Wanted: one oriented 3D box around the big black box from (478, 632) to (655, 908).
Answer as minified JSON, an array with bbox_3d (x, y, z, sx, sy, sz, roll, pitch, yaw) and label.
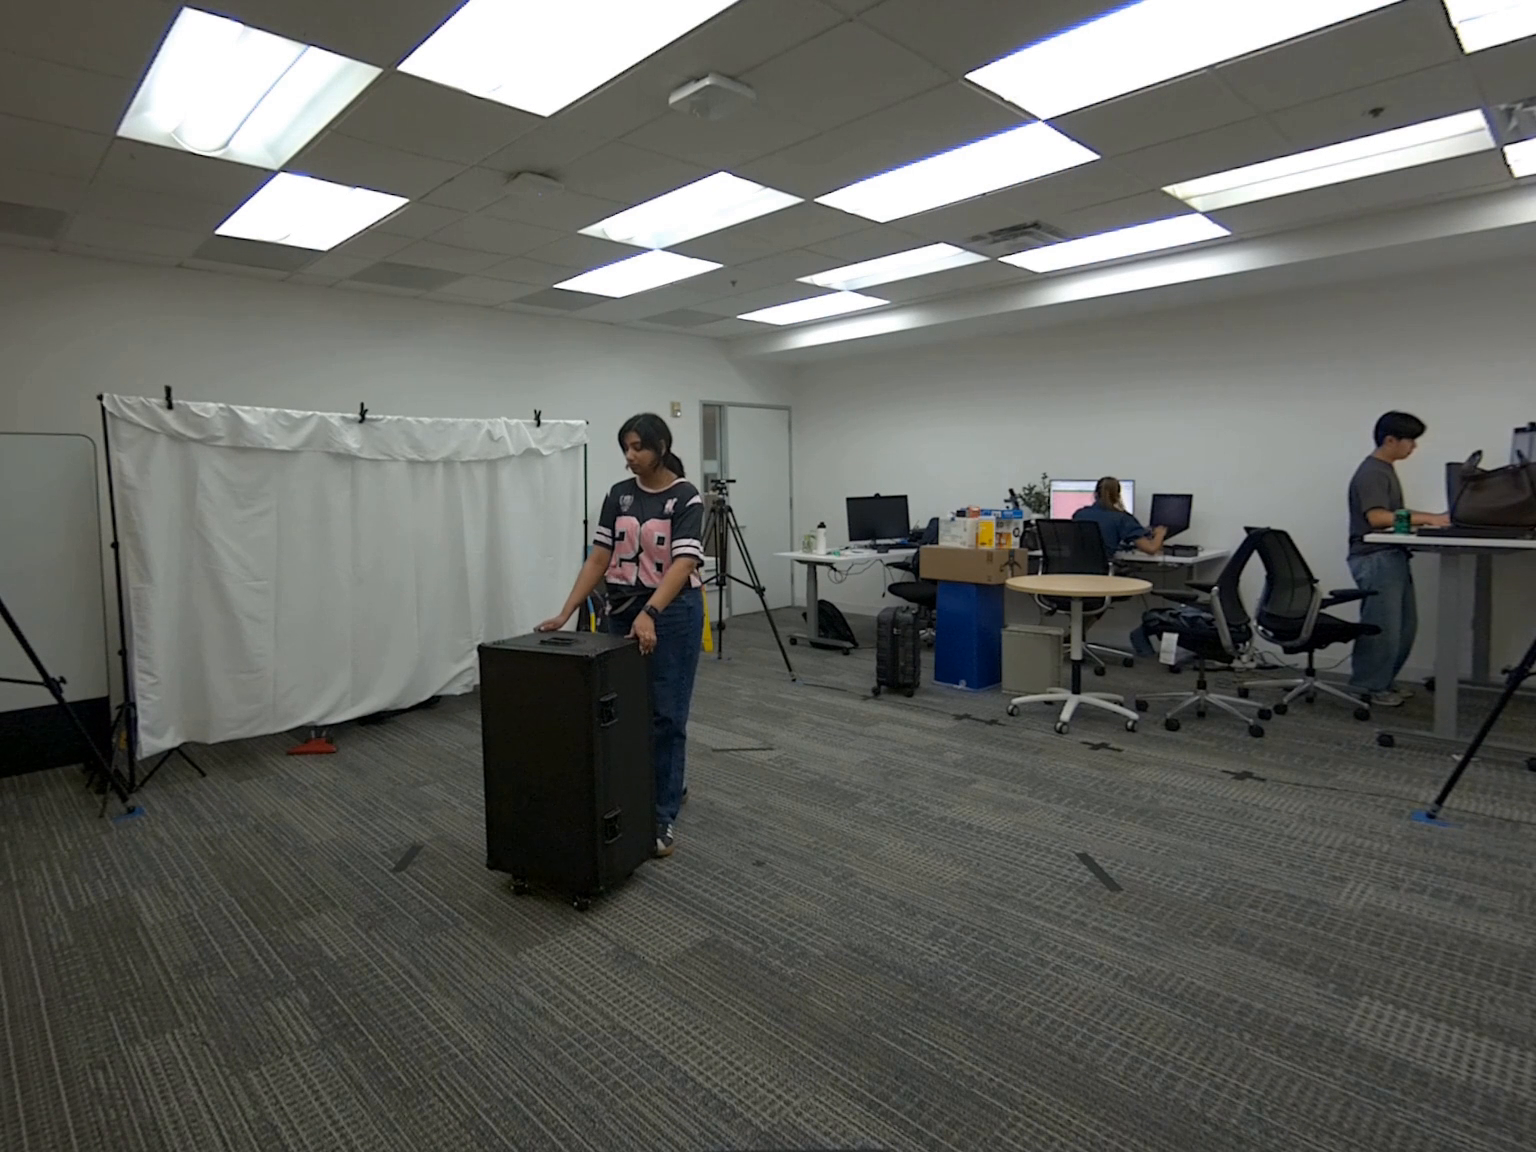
[{"bbox_3d":[-0.702,0.655,2.986,0.536,0.866,0.377,1,4,26],"label":"big black box"}]
